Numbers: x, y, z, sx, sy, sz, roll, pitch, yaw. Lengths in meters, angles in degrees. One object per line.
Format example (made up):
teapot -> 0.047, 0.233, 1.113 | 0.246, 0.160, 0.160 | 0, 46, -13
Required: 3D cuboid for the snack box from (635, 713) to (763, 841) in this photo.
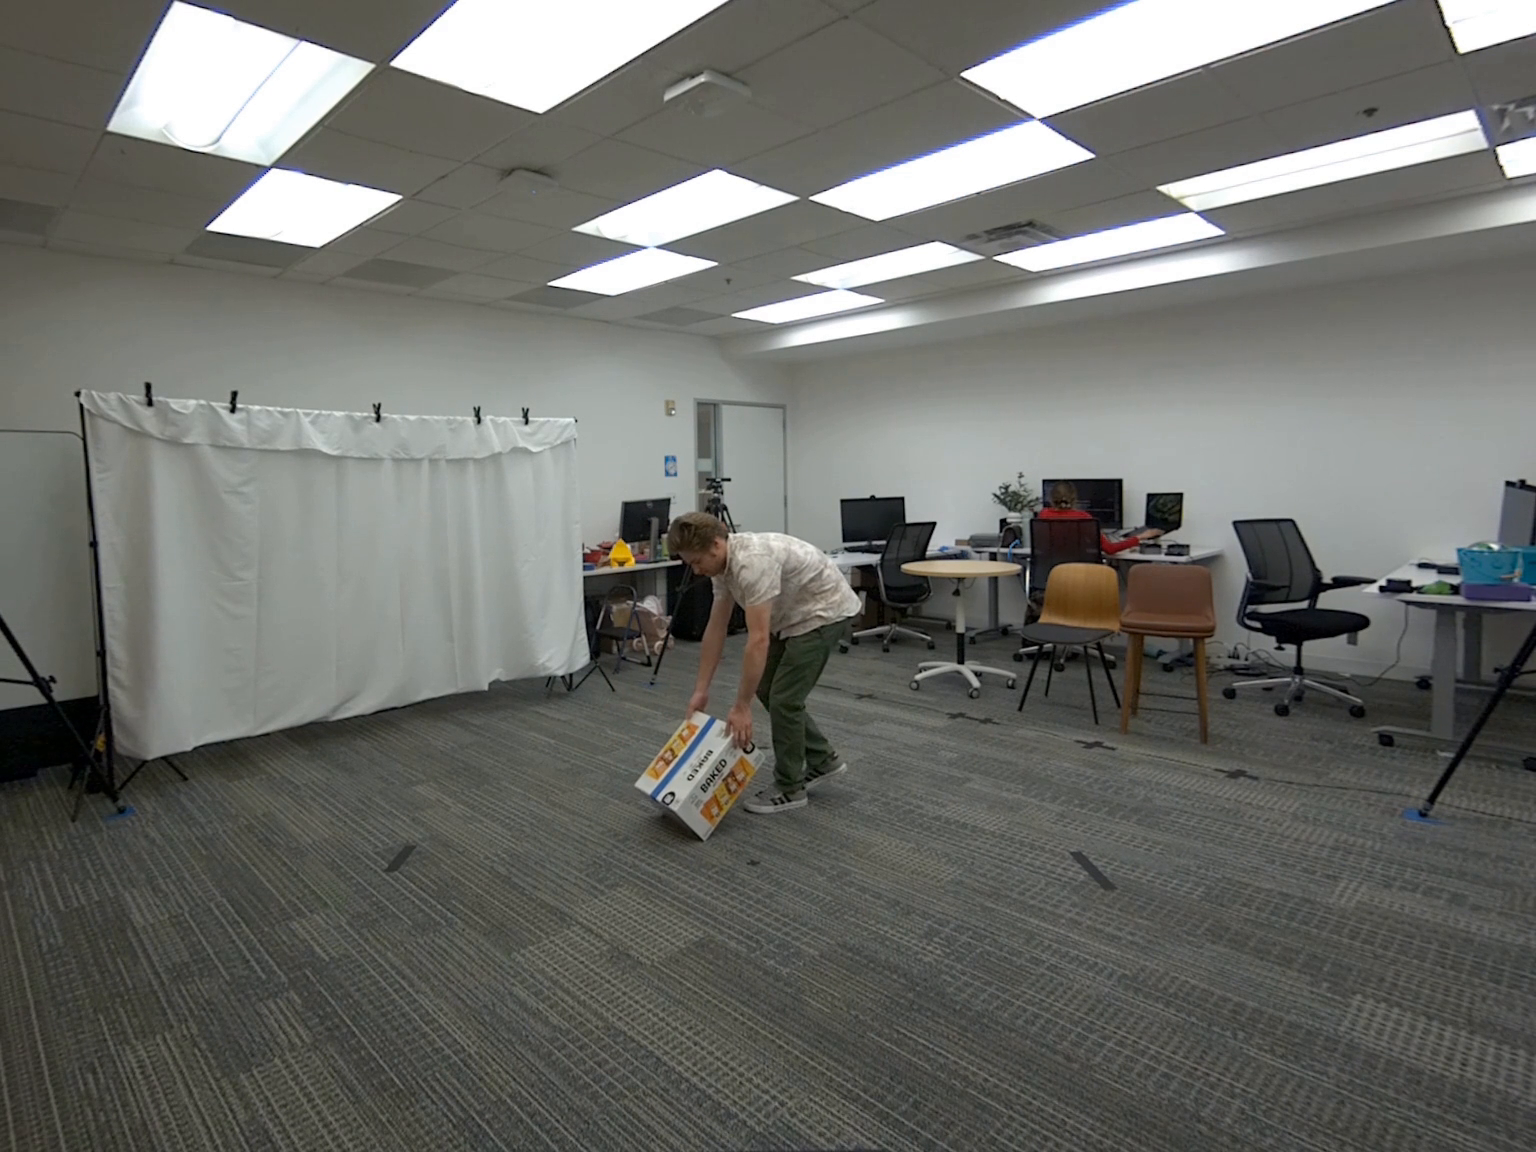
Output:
snack box -> -0.276, 0.796, 3.472 | 0.406, 0.199, 0.350 | -51, 29, -21
